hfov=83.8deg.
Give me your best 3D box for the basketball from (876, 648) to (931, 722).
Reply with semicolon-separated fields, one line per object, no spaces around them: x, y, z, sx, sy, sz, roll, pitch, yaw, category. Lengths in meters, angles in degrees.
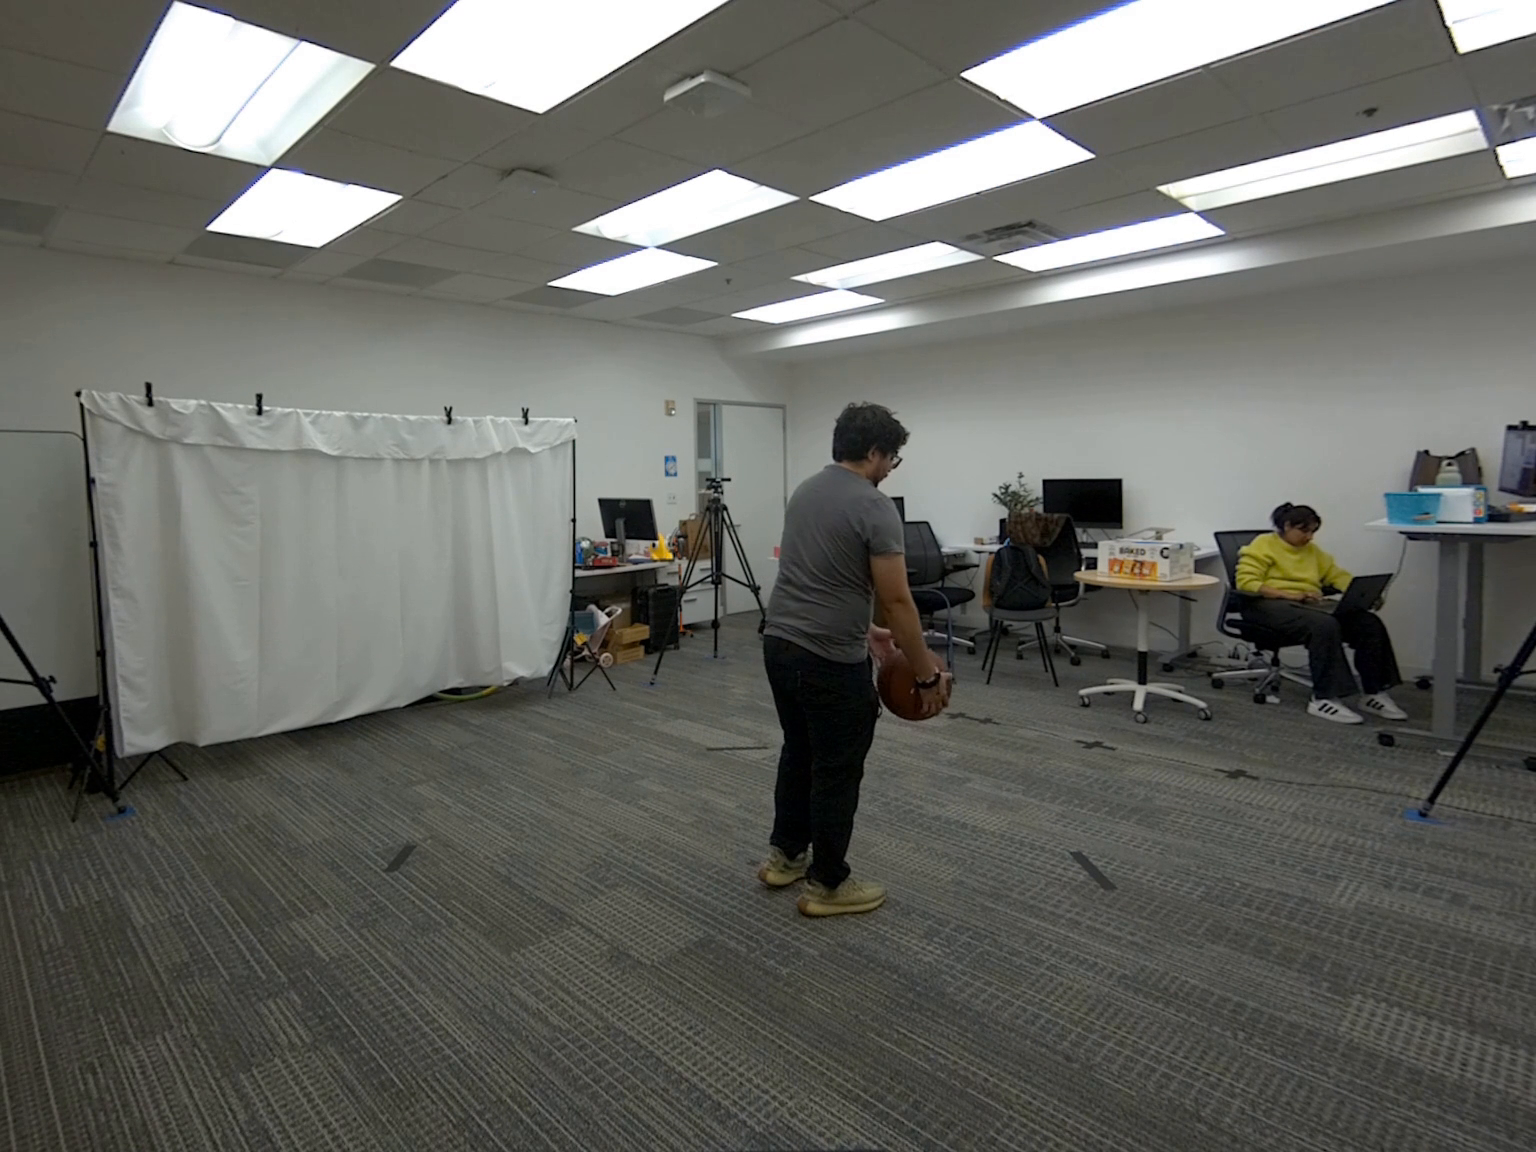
0.471;0.338;2.756;0.236;0.235;0.237;-1;5;-2;basketball
